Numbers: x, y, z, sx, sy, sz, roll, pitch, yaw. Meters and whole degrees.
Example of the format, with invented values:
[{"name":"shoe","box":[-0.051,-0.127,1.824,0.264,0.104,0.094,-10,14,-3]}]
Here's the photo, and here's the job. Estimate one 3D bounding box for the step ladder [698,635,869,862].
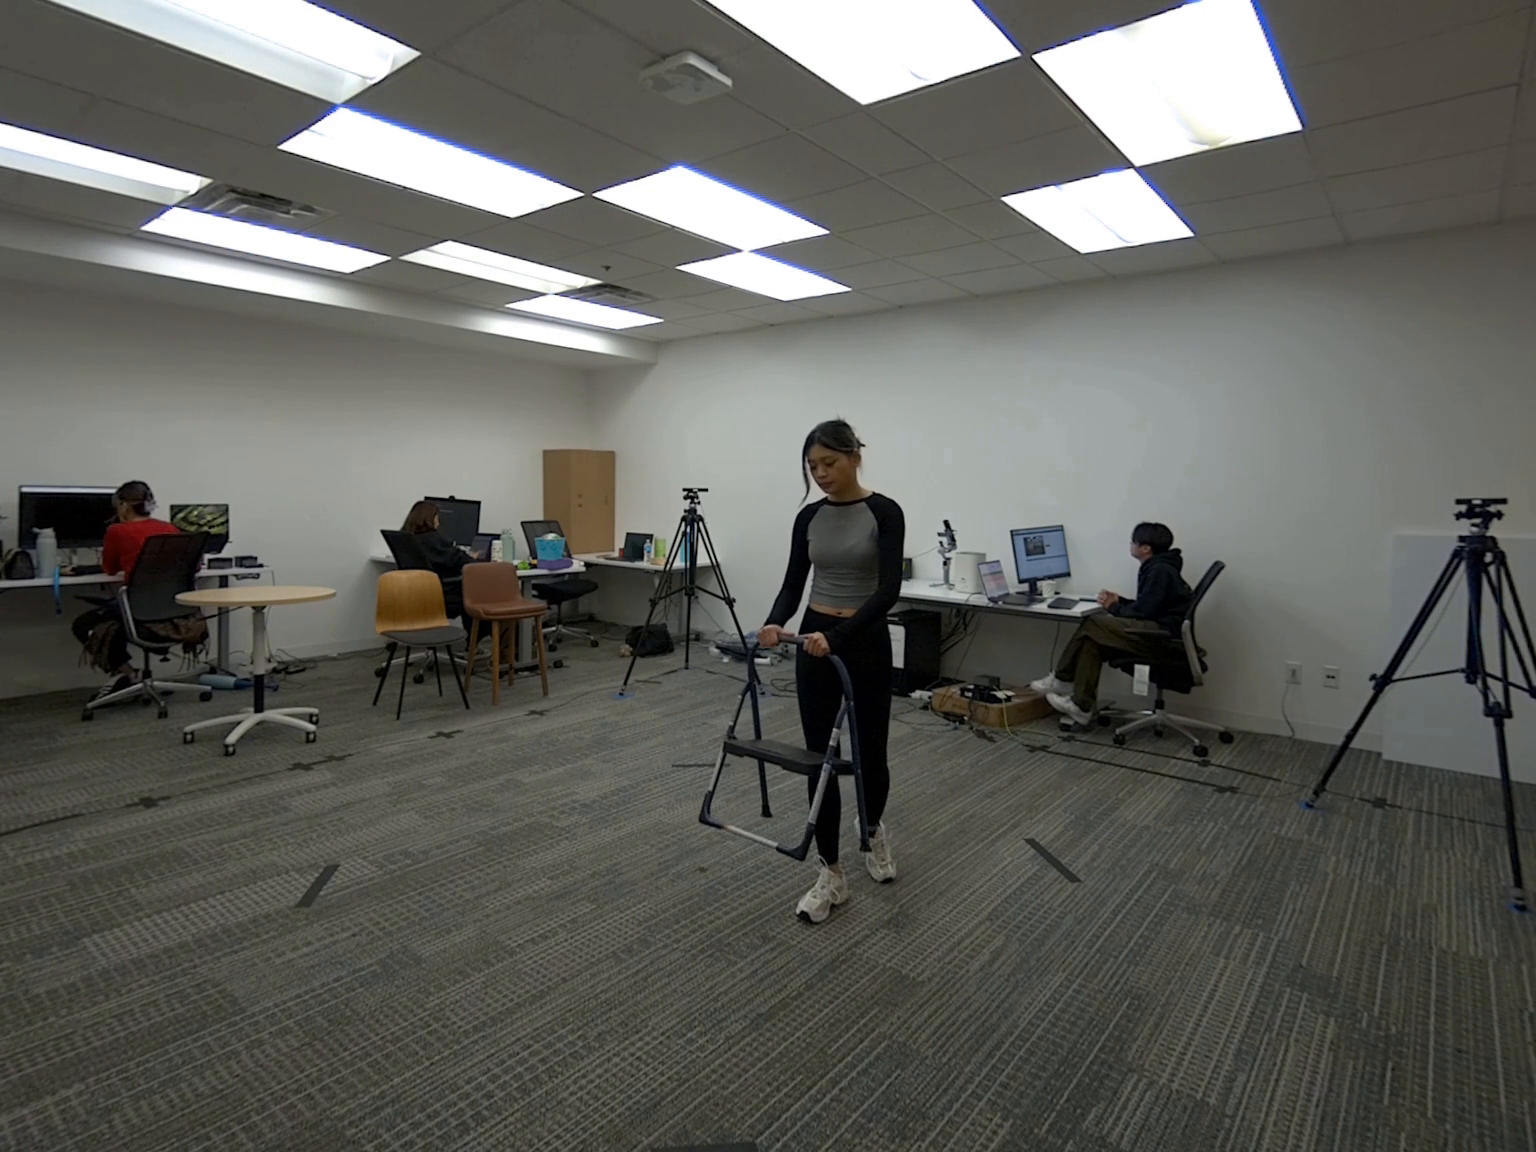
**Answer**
[{"name":"step ladder","box":[0.074,0.495,2.630,0.445,0.609,0.336,3,-7,42]}]
